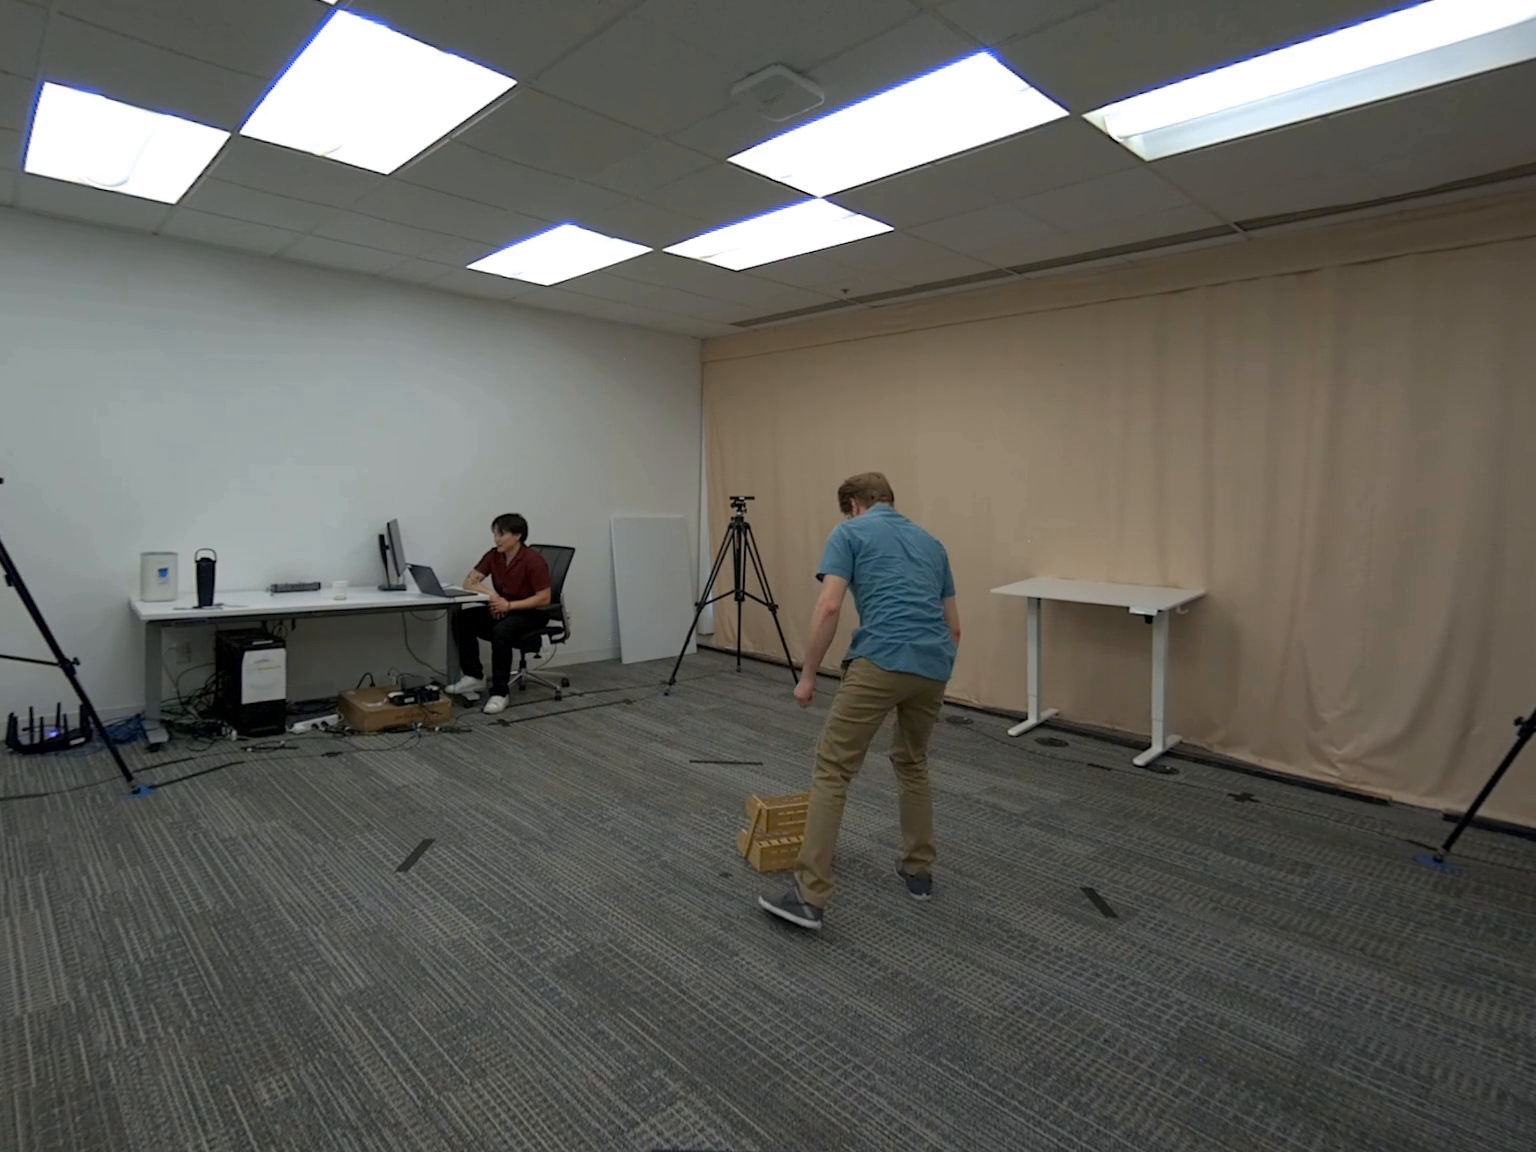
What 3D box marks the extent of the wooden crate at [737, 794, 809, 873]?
[{"bbox_3d":[0.061,0.958,3.273,0.319,0.272,0.308,-1,4,-23],"label":"wooden crate"}]
